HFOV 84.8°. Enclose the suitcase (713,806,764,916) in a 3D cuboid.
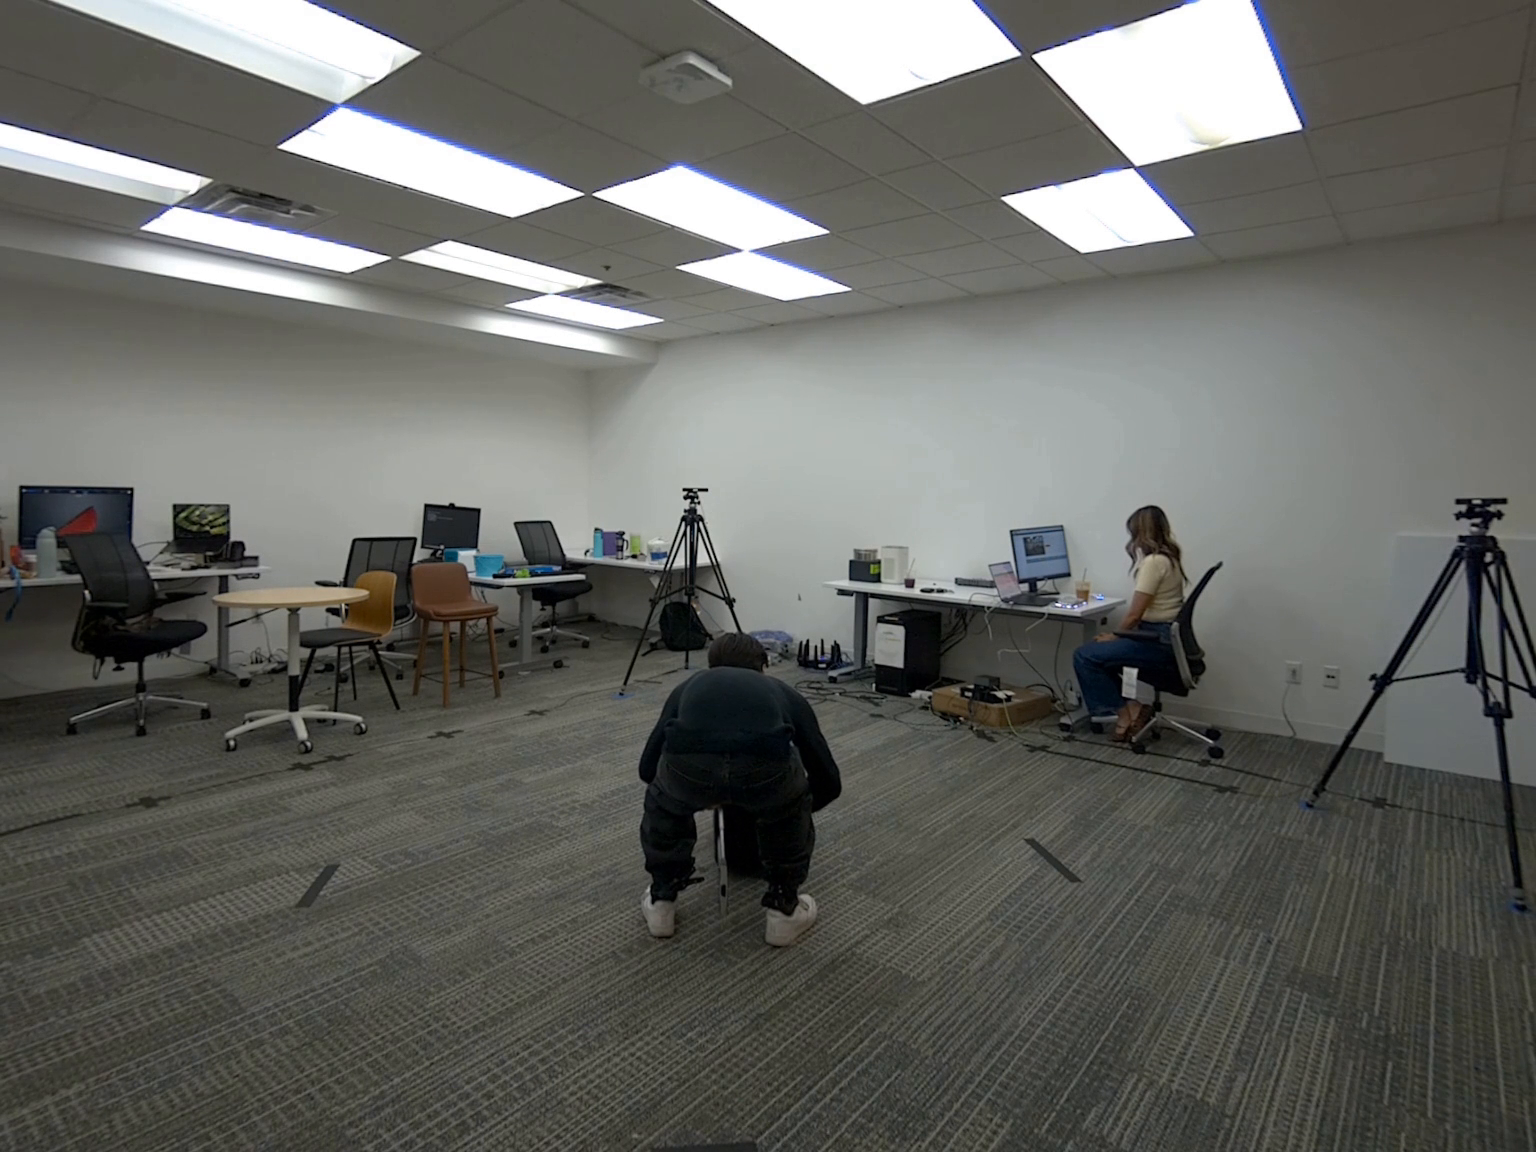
[{"bbox_3d":[-0.078,0.882,3.077,0.256,0.383,0.983,0,3,-4],"label":"suitcase"}]
